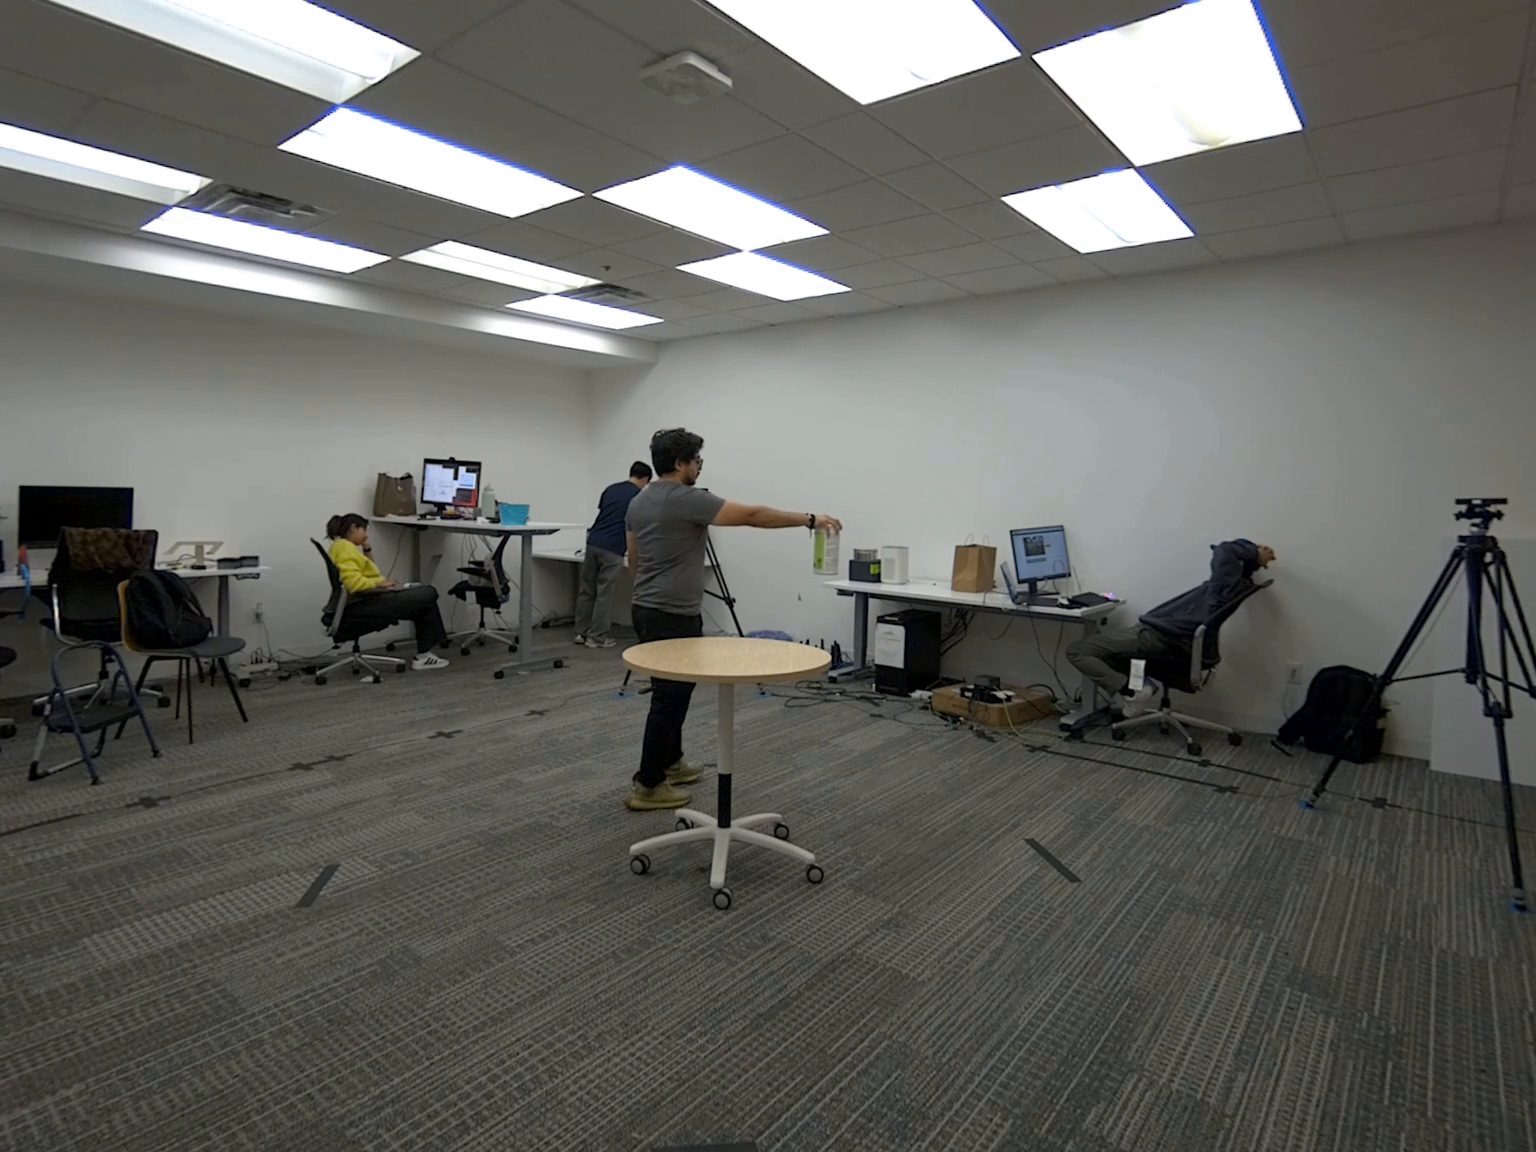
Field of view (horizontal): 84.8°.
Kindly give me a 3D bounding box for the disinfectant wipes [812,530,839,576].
[{"bbox_3d":[0.249,-0.115,3.733,0.117,0.217,0.118,3,2,-2],"label":"disinfectant wipes"}]
